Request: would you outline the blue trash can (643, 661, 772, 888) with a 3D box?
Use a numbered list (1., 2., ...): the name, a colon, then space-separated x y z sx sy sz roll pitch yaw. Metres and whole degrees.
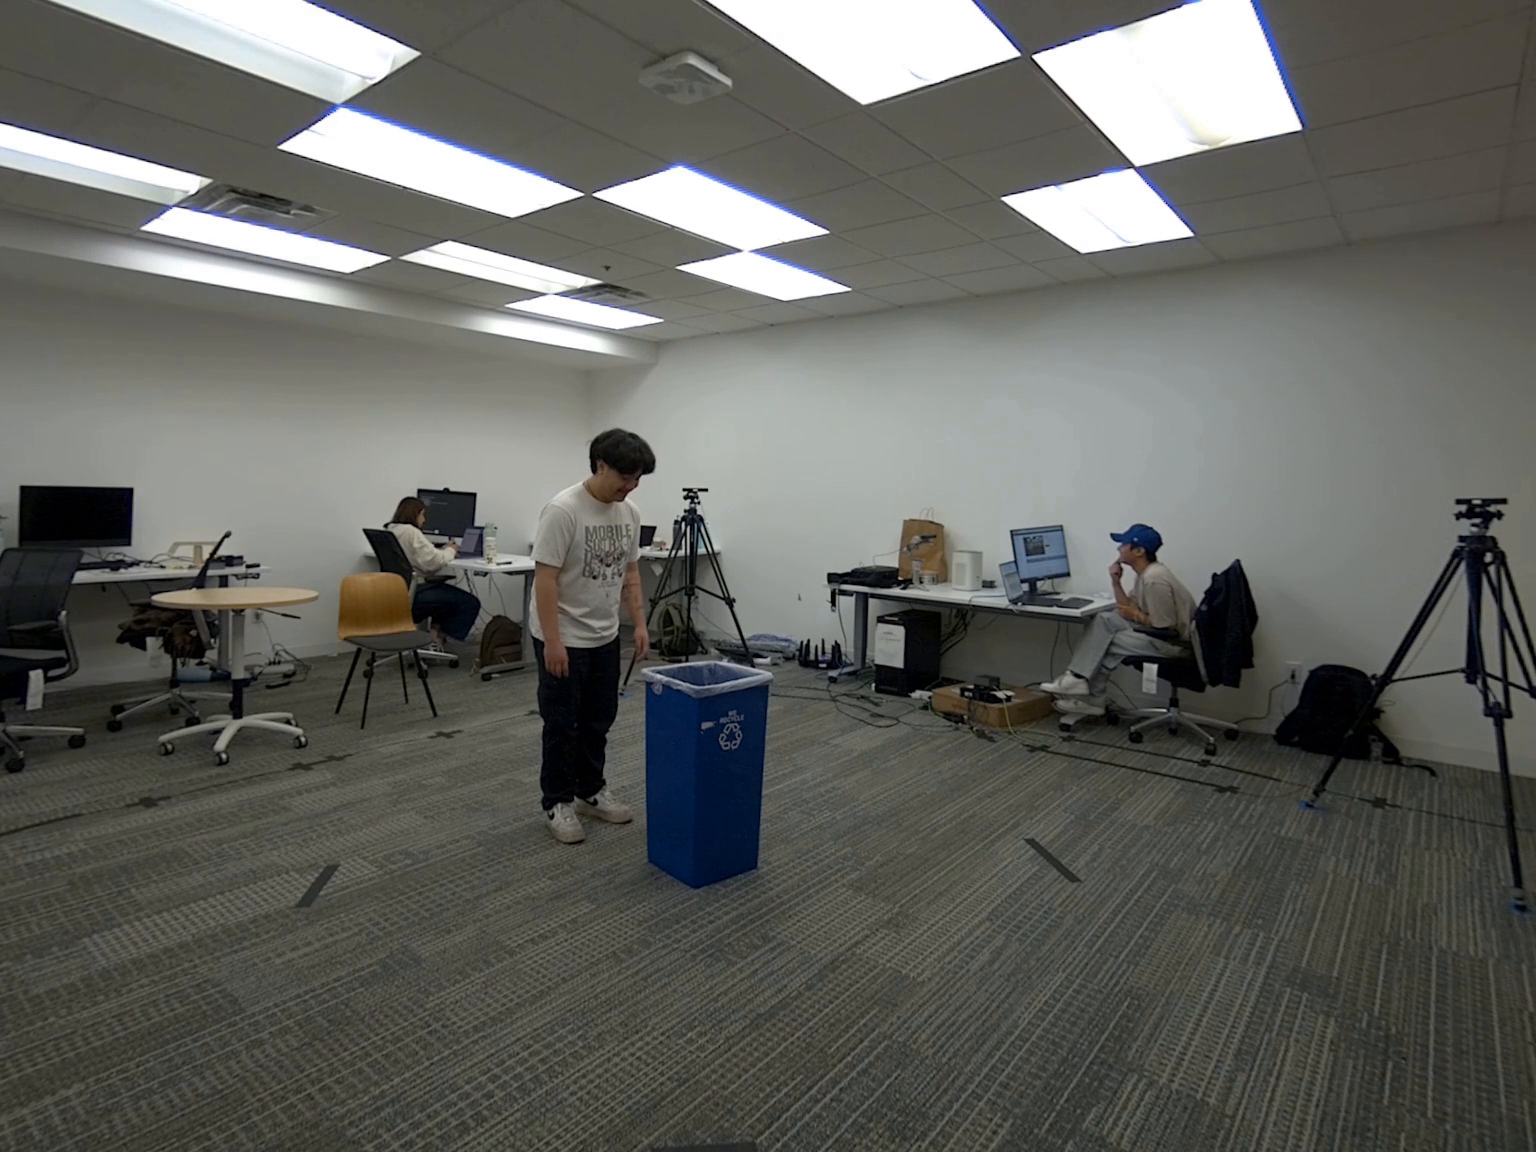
1. blue trash can: -0.240 0.706 3.145 0.363 0.711 0.391 -2 4 -41
